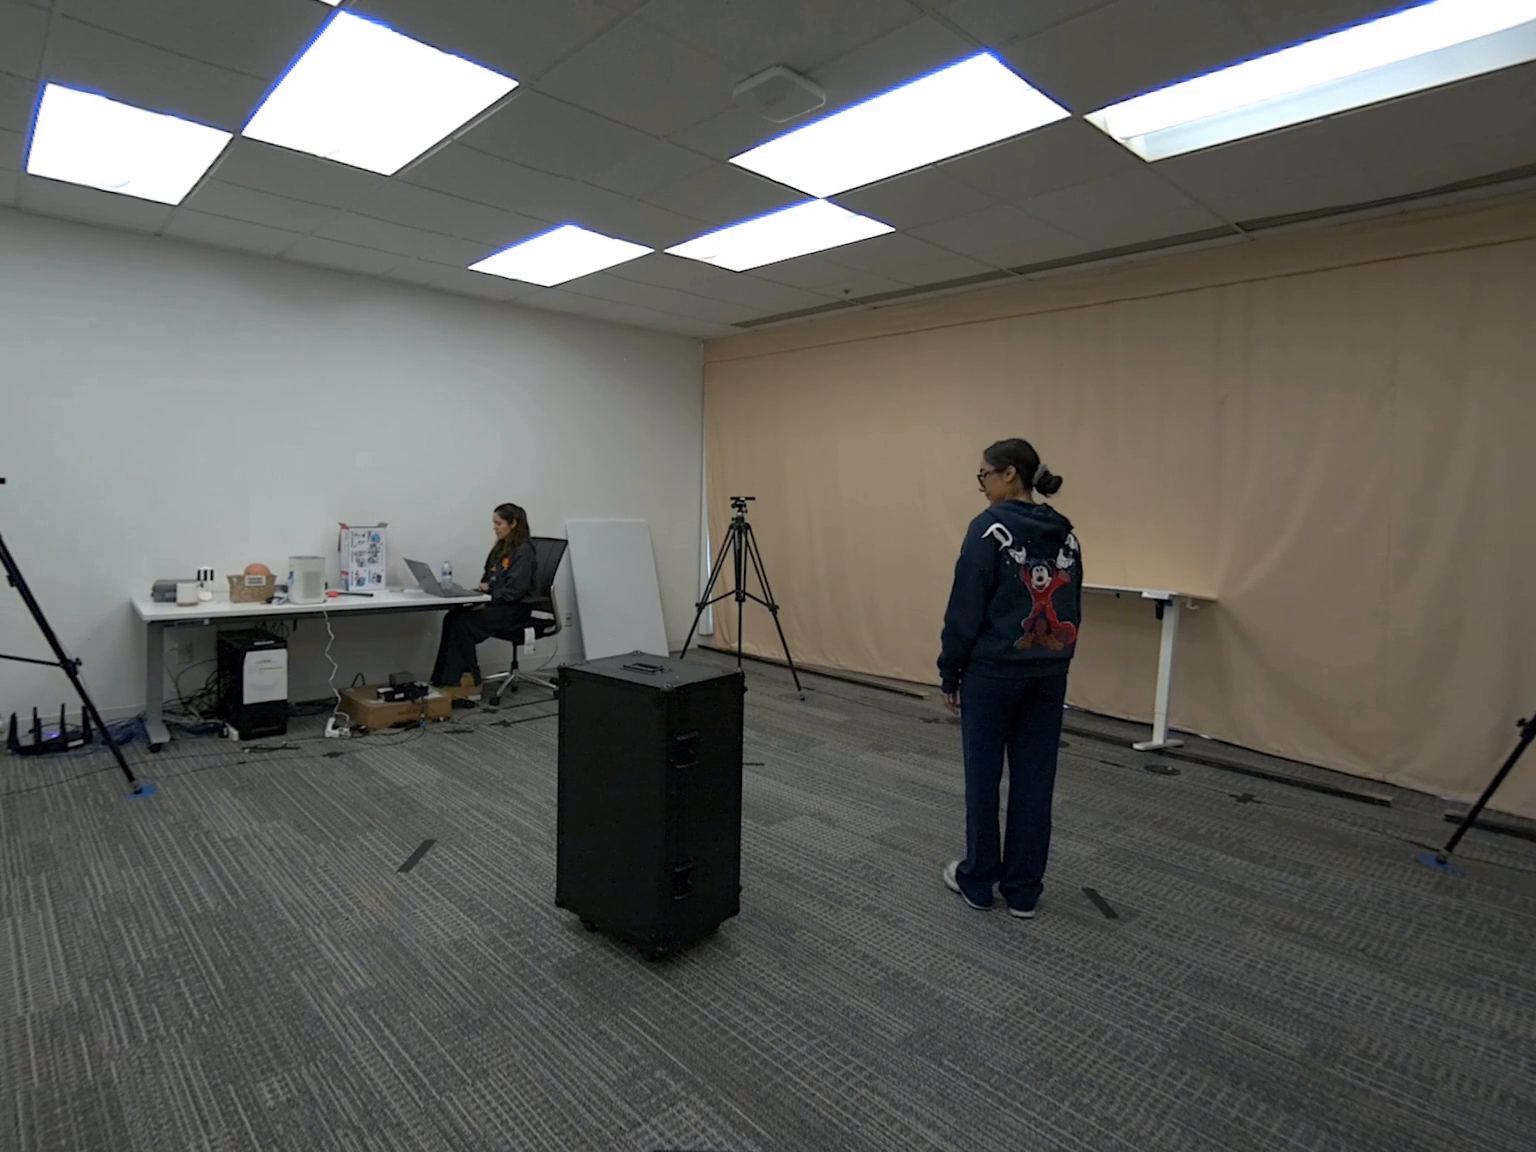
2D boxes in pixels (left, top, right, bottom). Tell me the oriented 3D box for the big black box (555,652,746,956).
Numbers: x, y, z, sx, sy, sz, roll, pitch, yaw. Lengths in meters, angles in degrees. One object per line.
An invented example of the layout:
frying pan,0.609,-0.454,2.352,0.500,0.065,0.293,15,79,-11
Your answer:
big black box,-0.371,0.725,2.668,0.406,0.859,0.510,5,5,37
